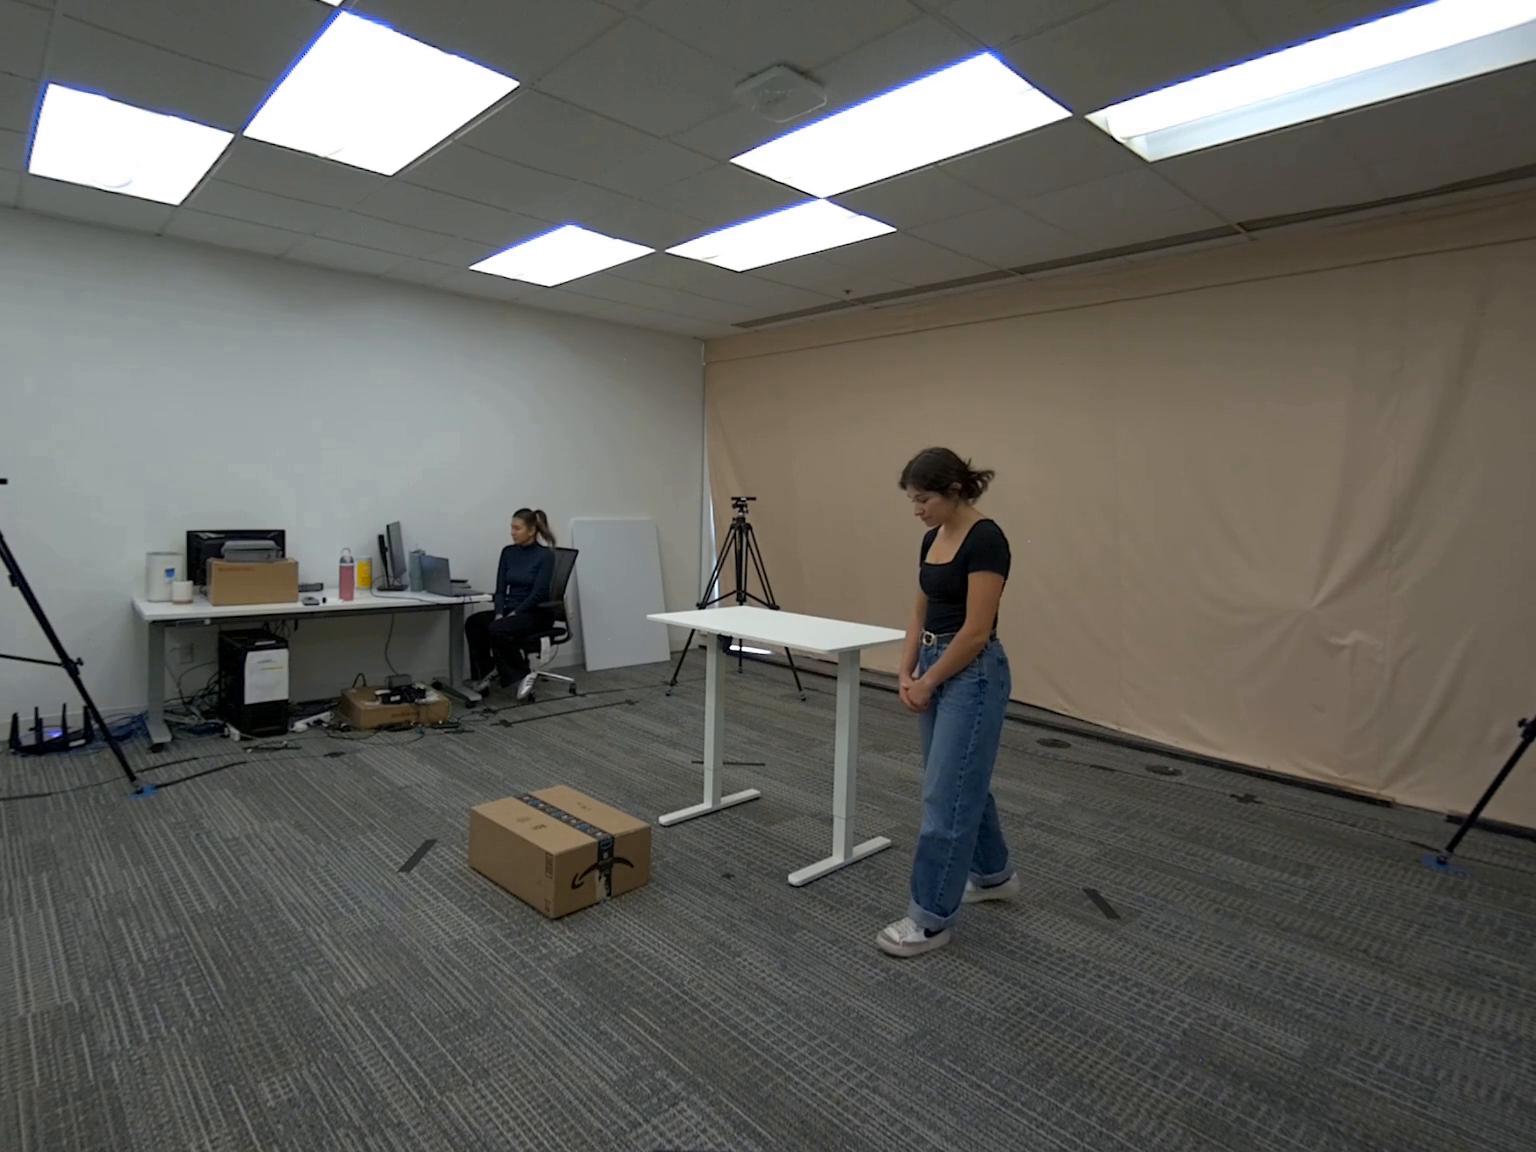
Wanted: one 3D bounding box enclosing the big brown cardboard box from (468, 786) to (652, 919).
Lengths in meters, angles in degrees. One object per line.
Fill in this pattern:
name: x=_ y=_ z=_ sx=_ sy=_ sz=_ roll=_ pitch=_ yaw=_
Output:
big brown cardboard box: x=-0.777 y=0.984 z=3.076 sx=0.604 sy=0.233 sz=0.408 roll=5 pitch=4 yaw=44
